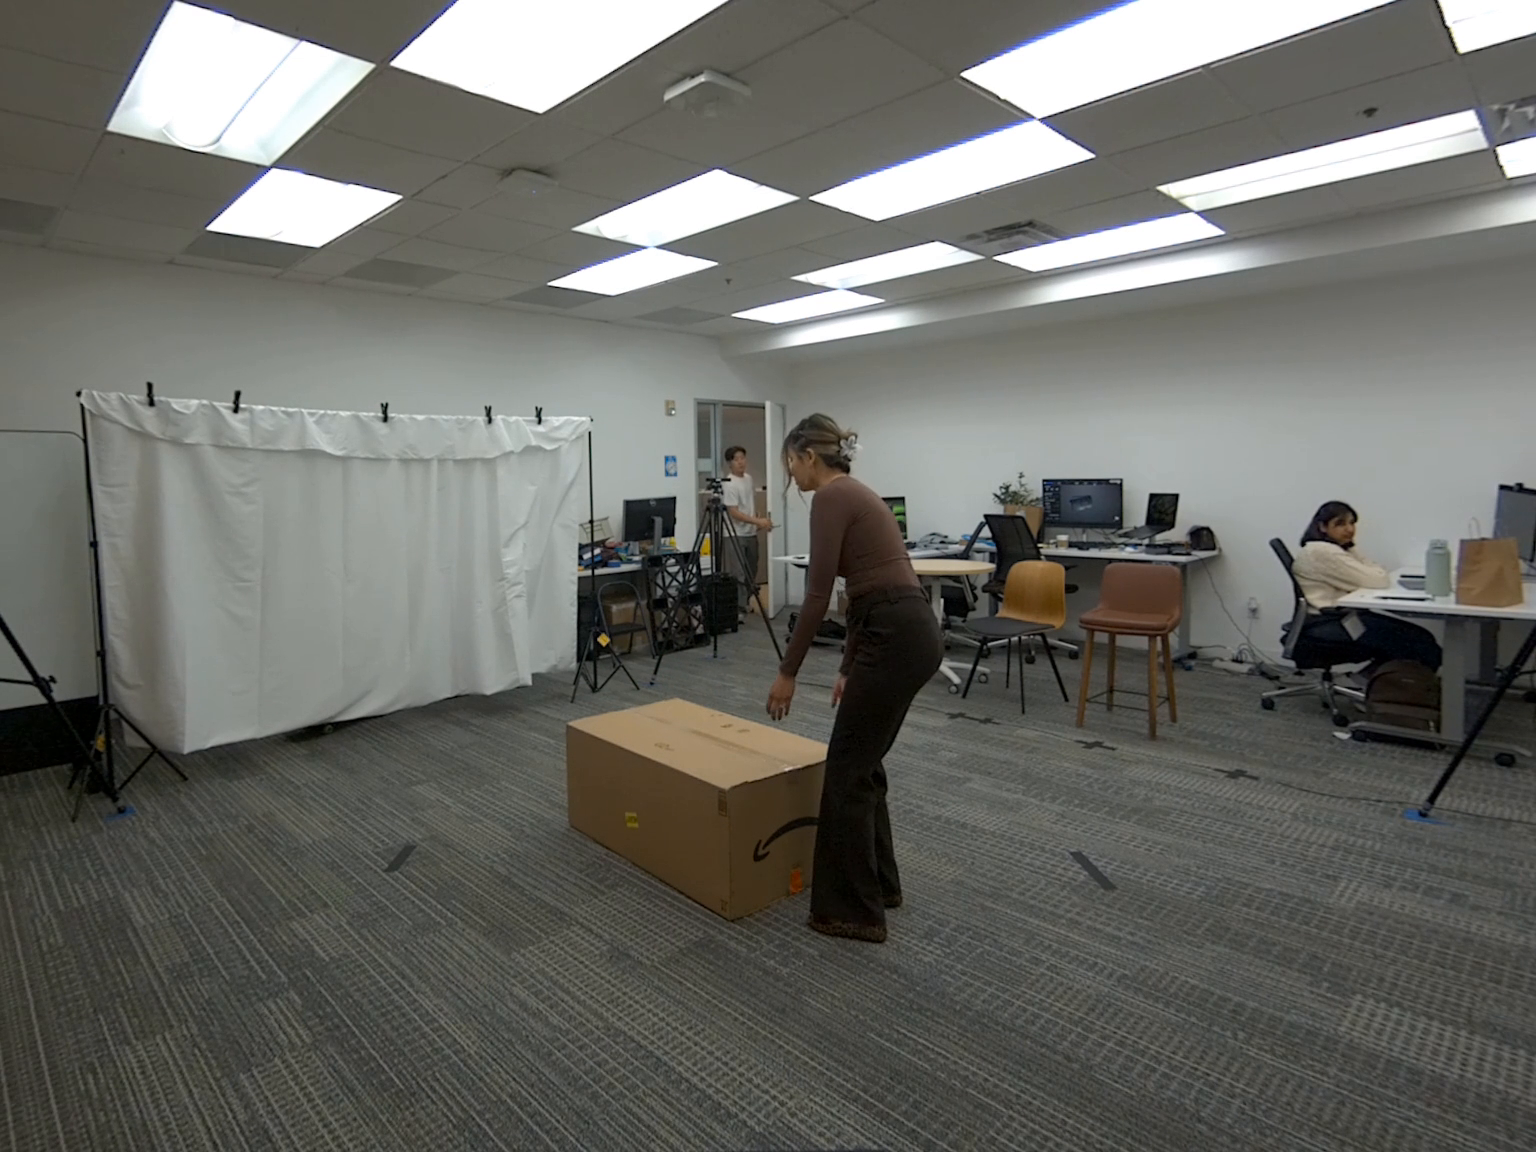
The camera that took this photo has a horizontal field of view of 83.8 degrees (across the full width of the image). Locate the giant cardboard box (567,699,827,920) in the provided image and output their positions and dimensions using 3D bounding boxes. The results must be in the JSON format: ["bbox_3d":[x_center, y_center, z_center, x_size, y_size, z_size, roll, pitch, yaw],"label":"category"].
[{"bbox_3d":[-0.260,0.819,3.249,0.569,0.445,1.058,-7,8,-41],"label":"giant cardboard box"}]
